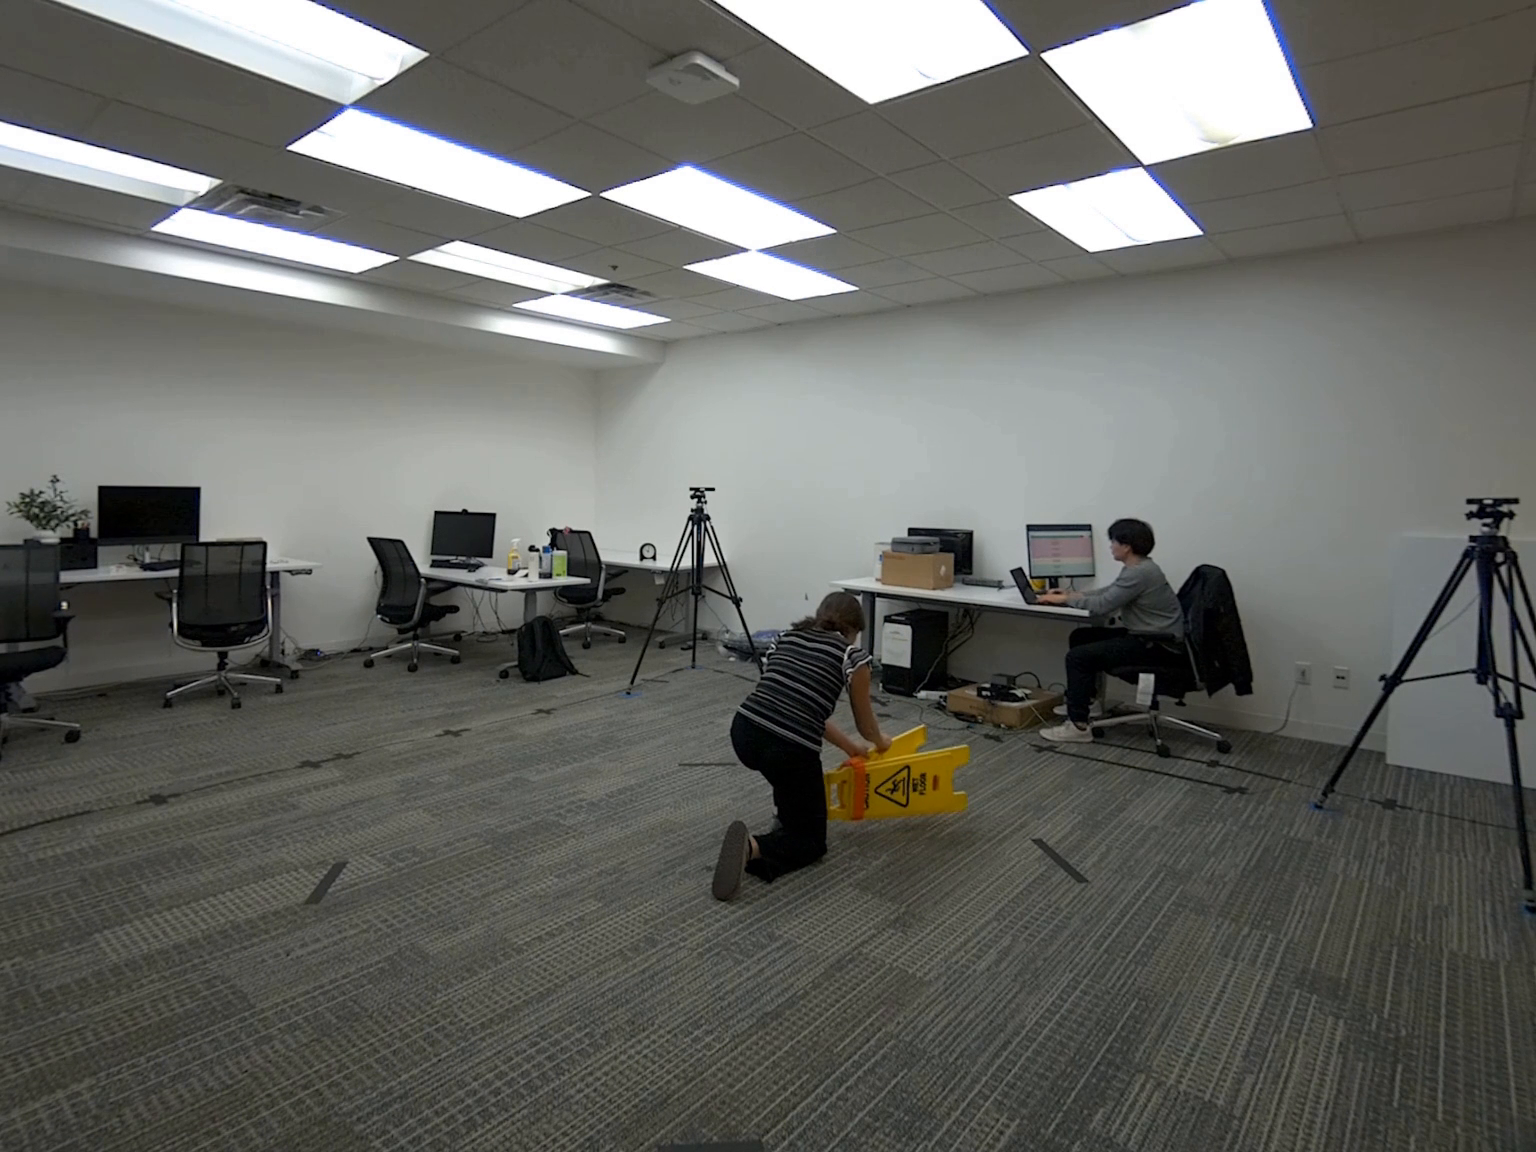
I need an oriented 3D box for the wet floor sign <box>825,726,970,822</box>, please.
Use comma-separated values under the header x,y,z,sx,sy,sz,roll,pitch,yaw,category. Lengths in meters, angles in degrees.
x,y,z,sx,sy,sz,roll,pitch,yaw,category
0.485,0.843,3.501,0.630,0.280,0.299,-5,11,-28,wet floor sign
